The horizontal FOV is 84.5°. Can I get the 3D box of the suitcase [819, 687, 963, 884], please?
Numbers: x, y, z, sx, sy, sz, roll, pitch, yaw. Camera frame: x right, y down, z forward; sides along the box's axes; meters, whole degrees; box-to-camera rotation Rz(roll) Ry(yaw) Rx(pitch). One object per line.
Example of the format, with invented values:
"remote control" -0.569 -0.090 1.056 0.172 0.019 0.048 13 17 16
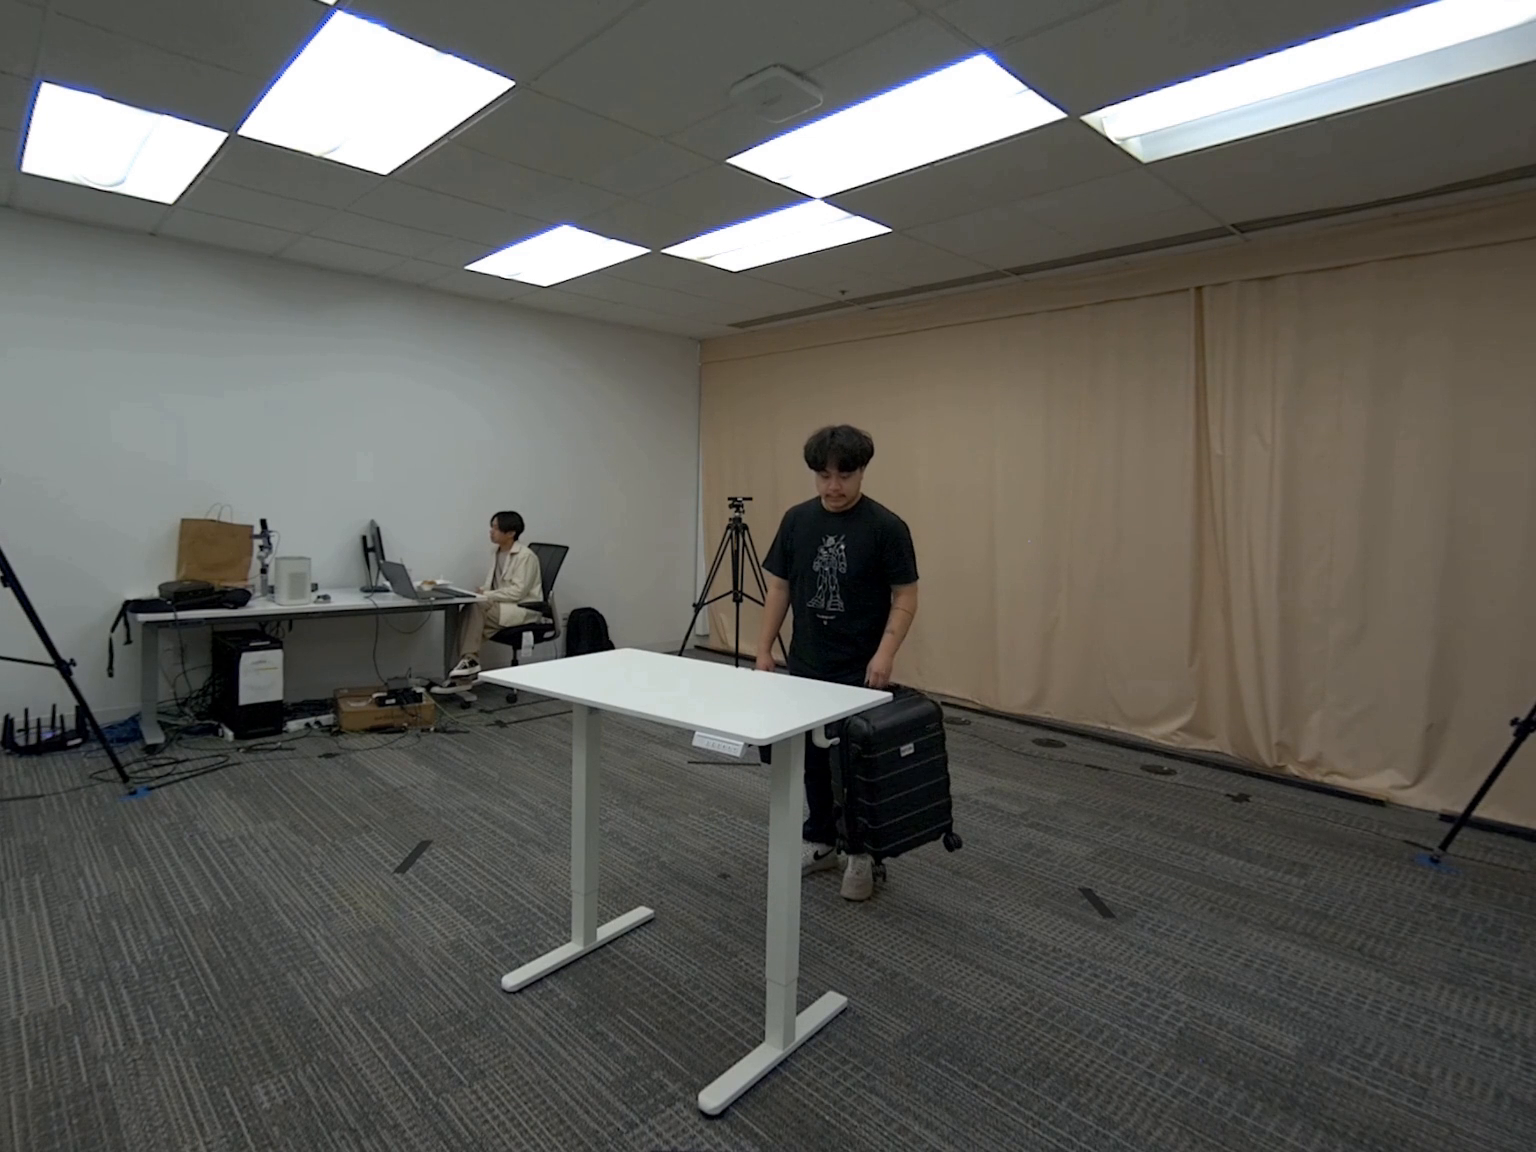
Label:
"suitcase" 0.407 0.668 2.836 0.370 0.545 0.254 -10 10 -25
